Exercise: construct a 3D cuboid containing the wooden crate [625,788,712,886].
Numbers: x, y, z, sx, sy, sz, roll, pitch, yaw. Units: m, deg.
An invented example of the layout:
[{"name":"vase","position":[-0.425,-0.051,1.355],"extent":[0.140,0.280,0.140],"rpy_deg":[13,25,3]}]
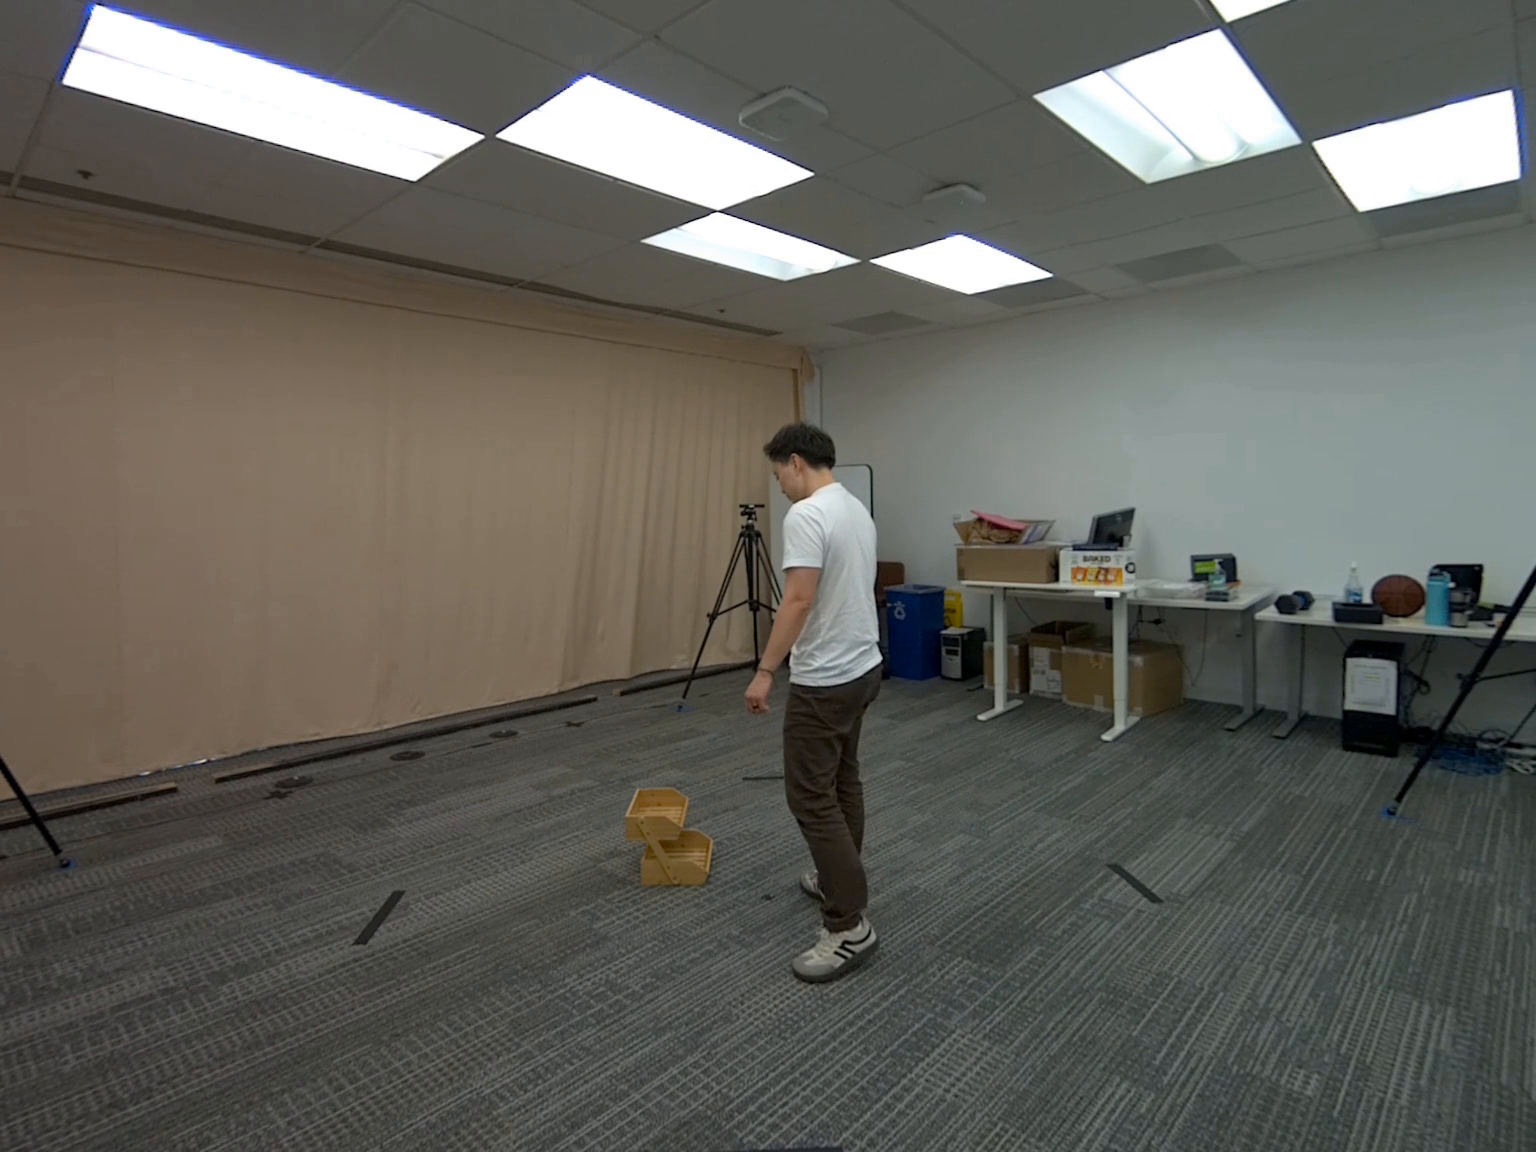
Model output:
[{"name":"wooden crate","position":[-0.370,0.991,3.239],"extent":[0.303,0.272,0.325],"rpy_deg":[-1,4,1]}]
